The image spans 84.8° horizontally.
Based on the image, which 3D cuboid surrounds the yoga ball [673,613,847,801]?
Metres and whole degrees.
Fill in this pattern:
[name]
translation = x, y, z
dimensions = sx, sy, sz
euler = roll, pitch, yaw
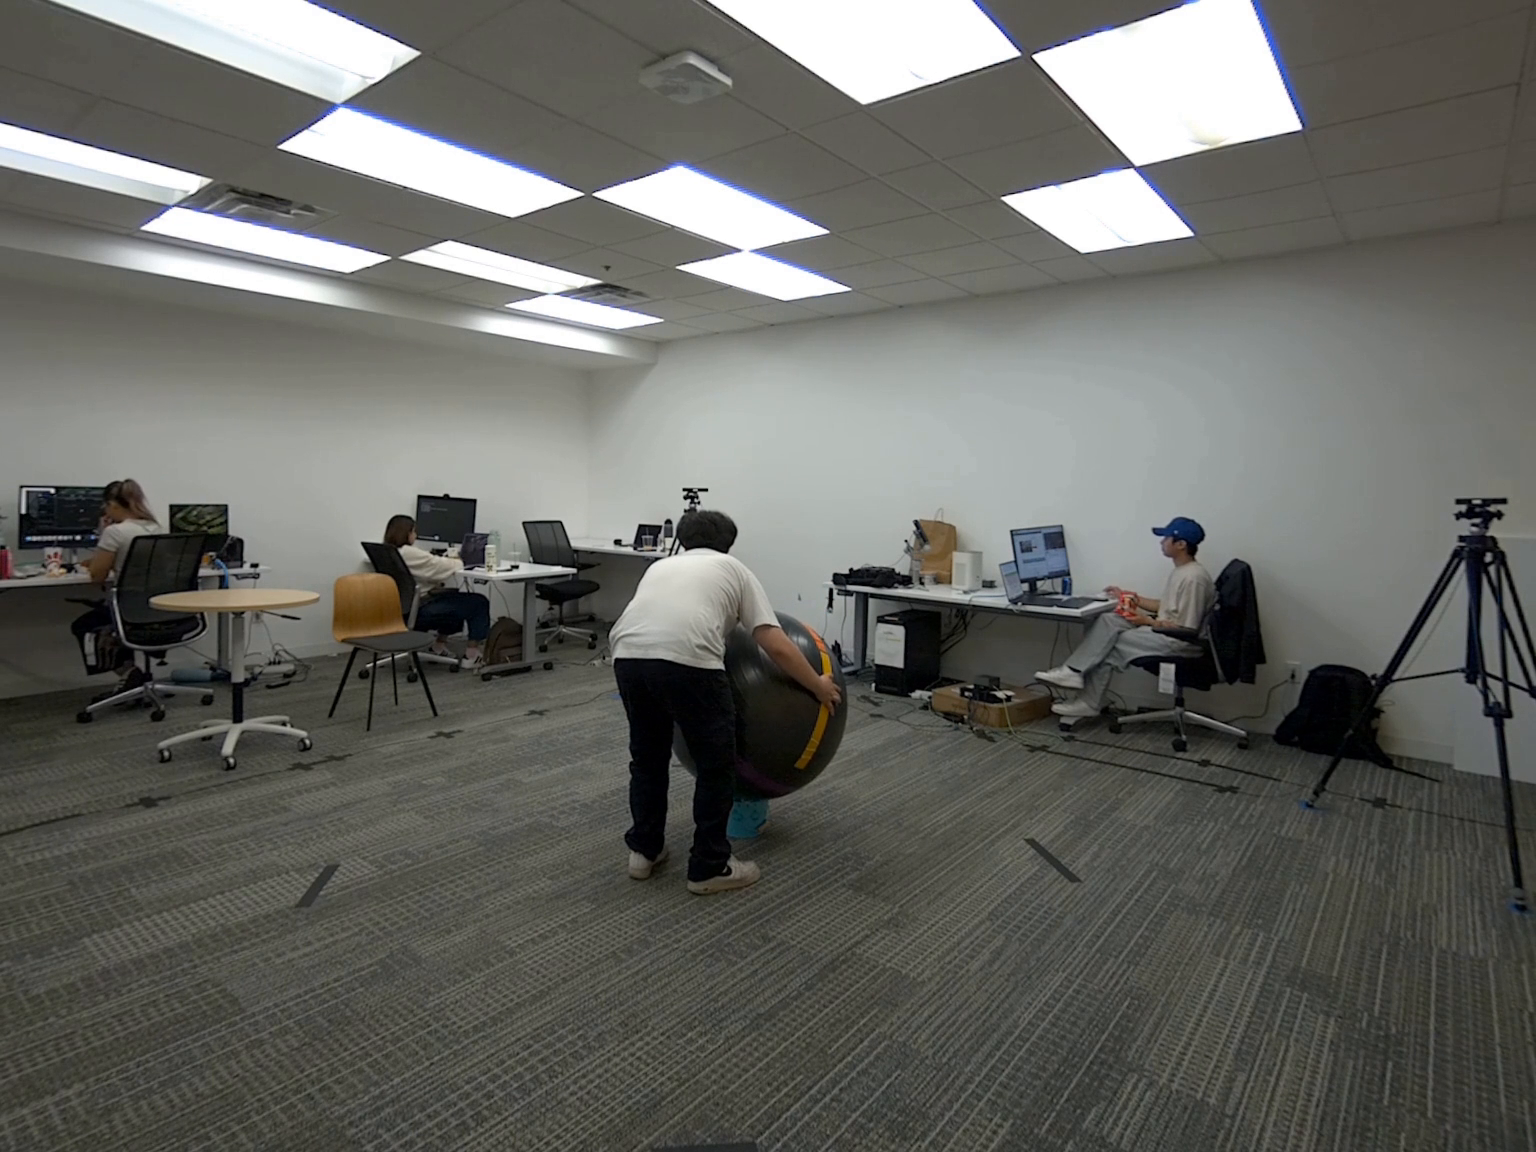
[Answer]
[yoga ball]
translation = -0.049, 0.515, 3.462
dimensions = 0.757, 0.755, 0.762
euler = 1, 4, -2
